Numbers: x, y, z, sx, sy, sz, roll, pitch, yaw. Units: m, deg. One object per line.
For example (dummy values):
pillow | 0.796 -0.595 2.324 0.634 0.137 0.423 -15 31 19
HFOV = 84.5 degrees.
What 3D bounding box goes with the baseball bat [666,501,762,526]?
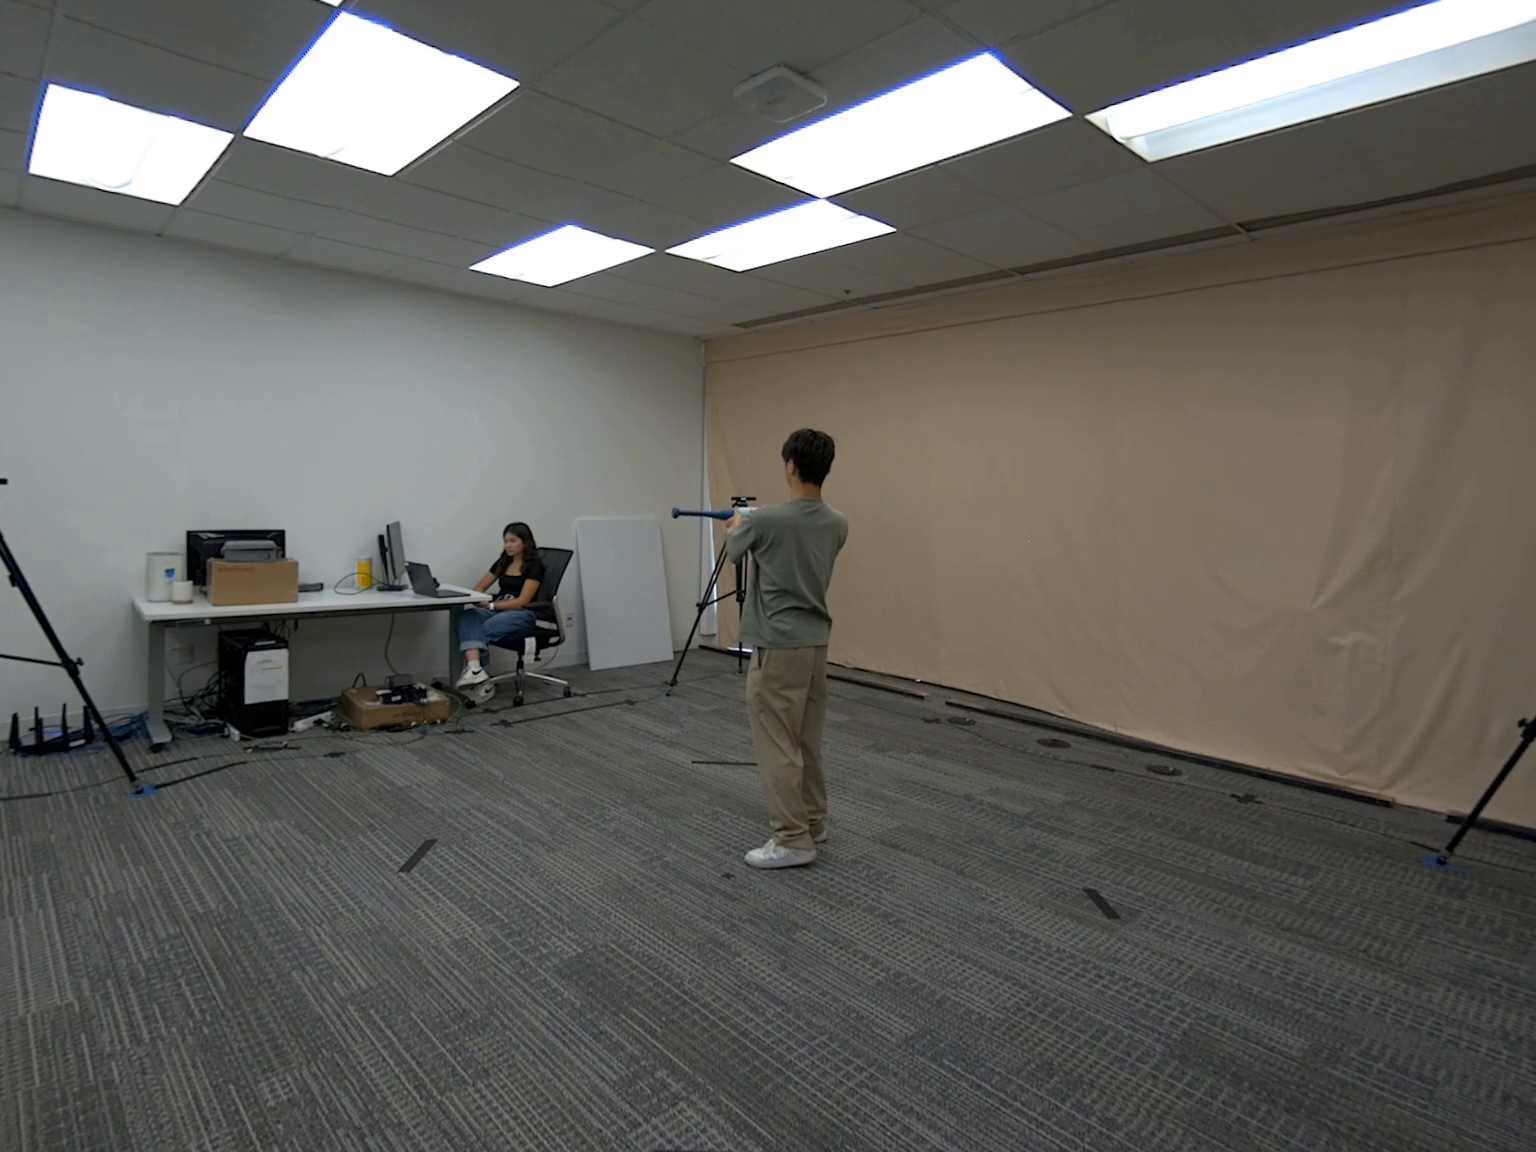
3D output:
baseball bat | -0.183 -0.275 3.804 0.534 0.089 0.091 2 4 -21
